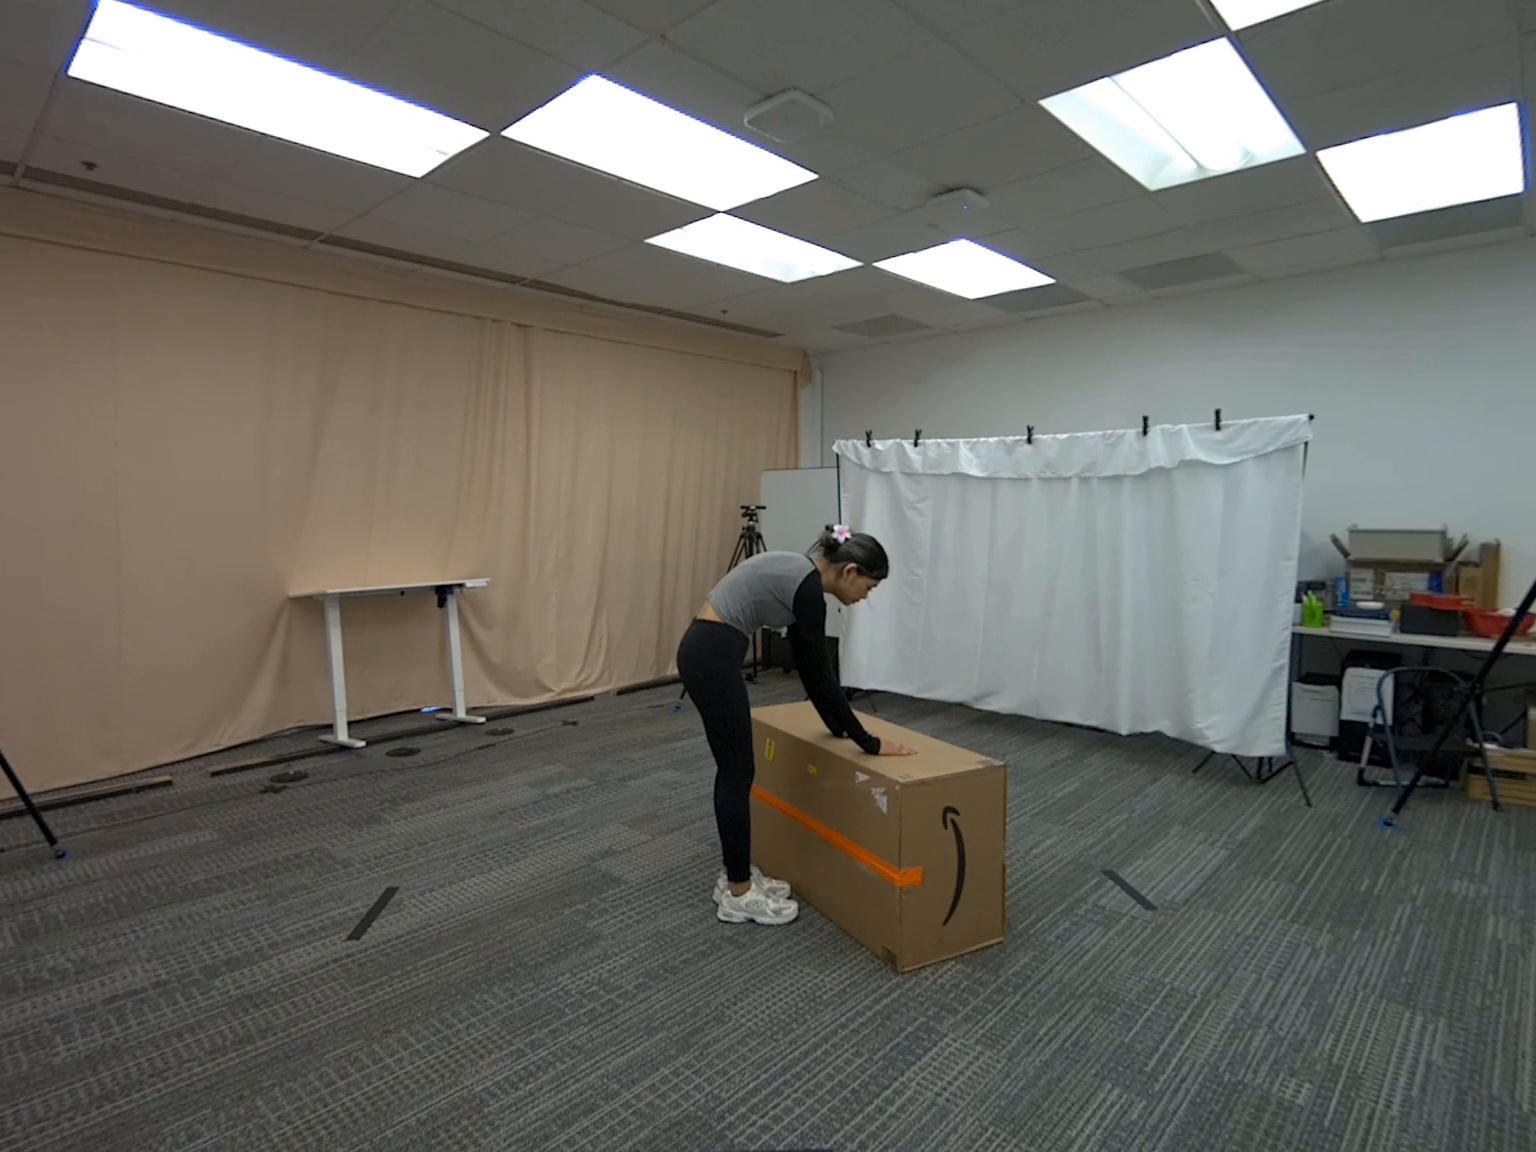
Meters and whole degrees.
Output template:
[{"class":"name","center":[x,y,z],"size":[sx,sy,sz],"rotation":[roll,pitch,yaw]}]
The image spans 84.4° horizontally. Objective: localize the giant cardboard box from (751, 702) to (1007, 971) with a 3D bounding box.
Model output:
[{"class":"giant cardboard box","center":[0.320,0.850,3.033],"size":[0.415,0.576,1.055],"rotation":[-2,4,-29]}]
